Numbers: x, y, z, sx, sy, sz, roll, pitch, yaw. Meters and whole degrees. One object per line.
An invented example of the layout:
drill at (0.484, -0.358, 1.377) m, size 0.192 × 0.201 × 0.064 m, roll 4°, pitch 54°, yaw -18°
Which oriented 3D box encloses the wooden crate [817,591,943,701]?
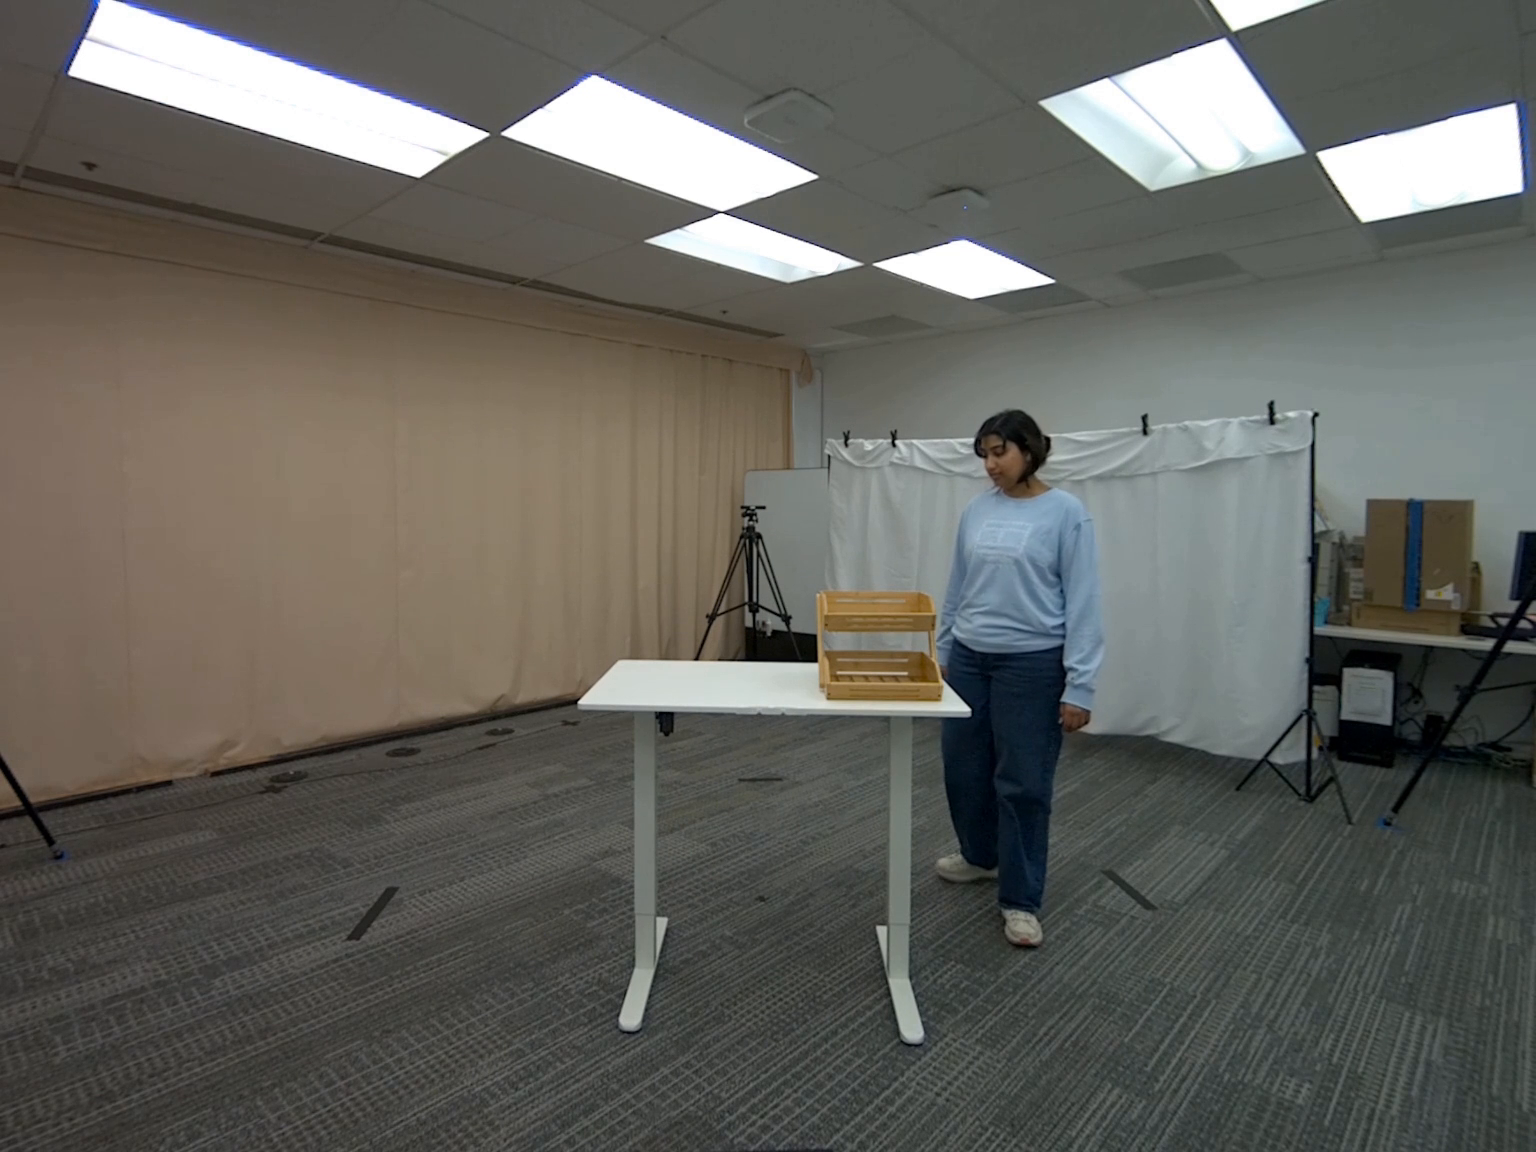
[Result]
wooden crate at (0.314, 0.183, 2.327) m, size 0.325 × 0.273 × 0.302 m, roll 0°, pitch 3°, yaw 0°
